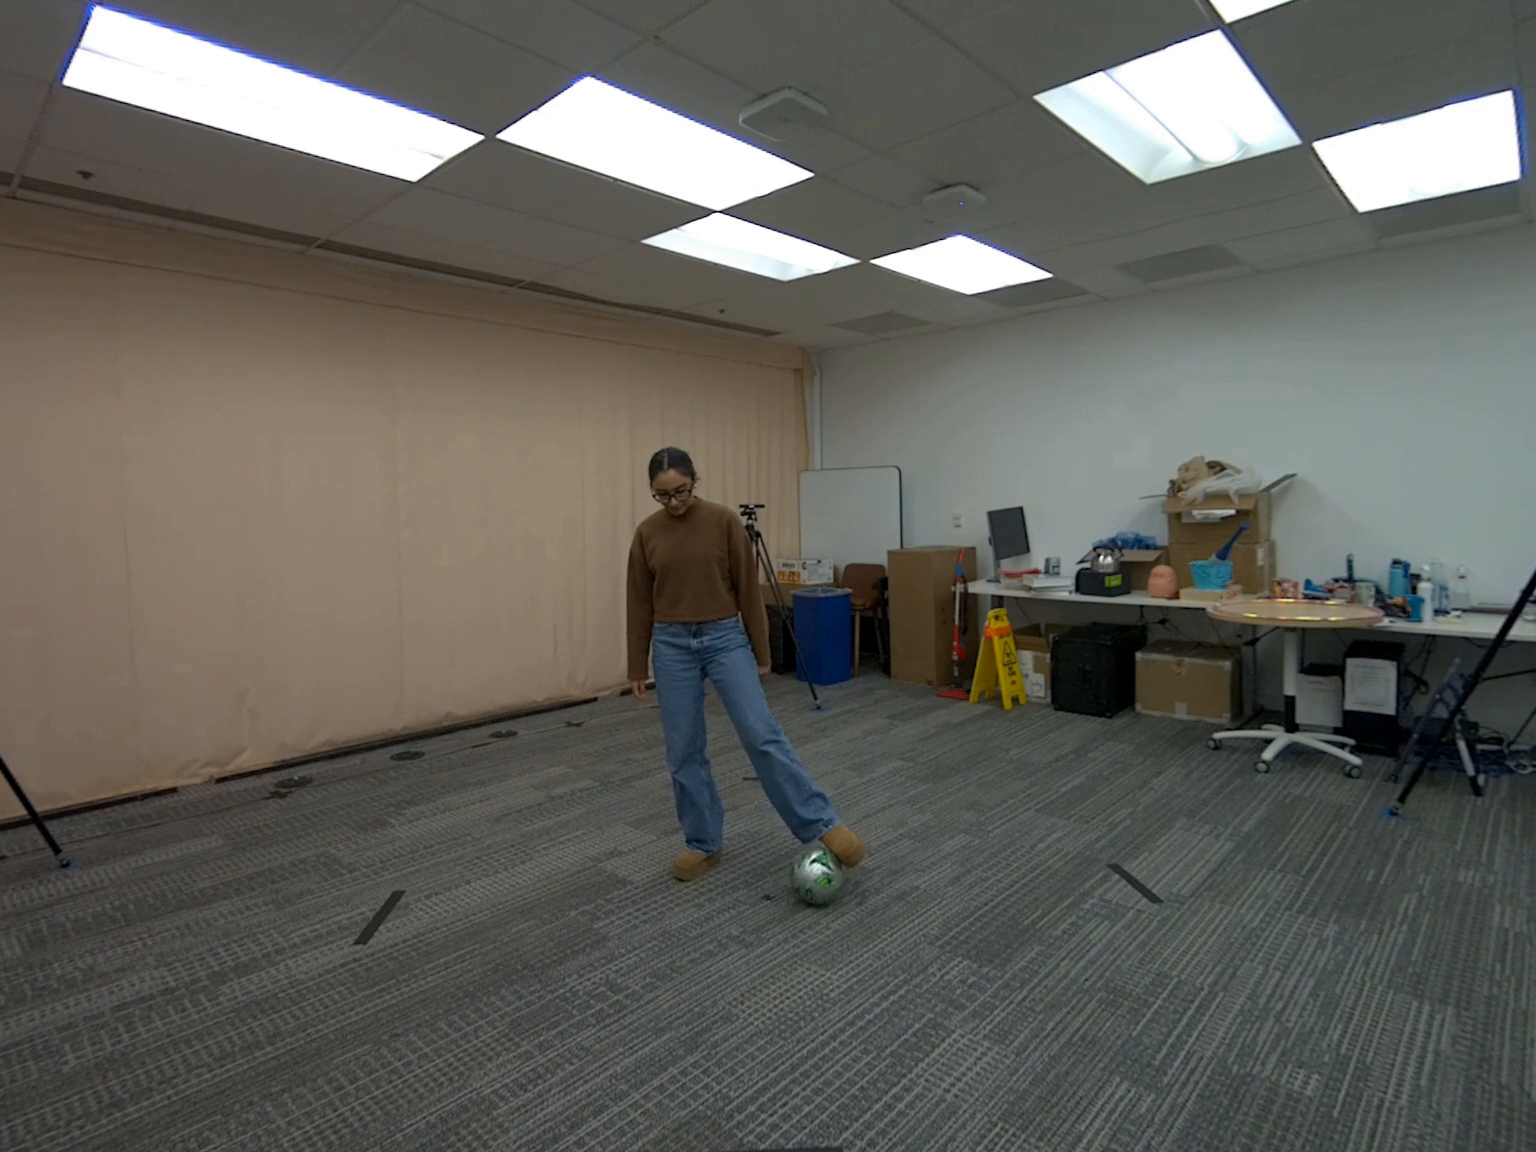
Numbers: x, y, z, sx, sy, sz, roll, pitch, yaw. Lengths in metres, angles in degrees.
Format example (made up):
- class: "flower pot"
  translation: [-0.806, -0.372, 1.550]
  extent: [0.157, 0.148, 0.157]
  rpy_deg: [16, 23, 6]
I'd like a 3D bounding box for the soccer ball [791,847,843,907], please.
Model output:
- class: "soccer ball"
  translation: [0.162, 1.045, 2.949]
  extent: [0.187, 0.187, 0.188]
  rpy_deg: [-1, 4, -2]
